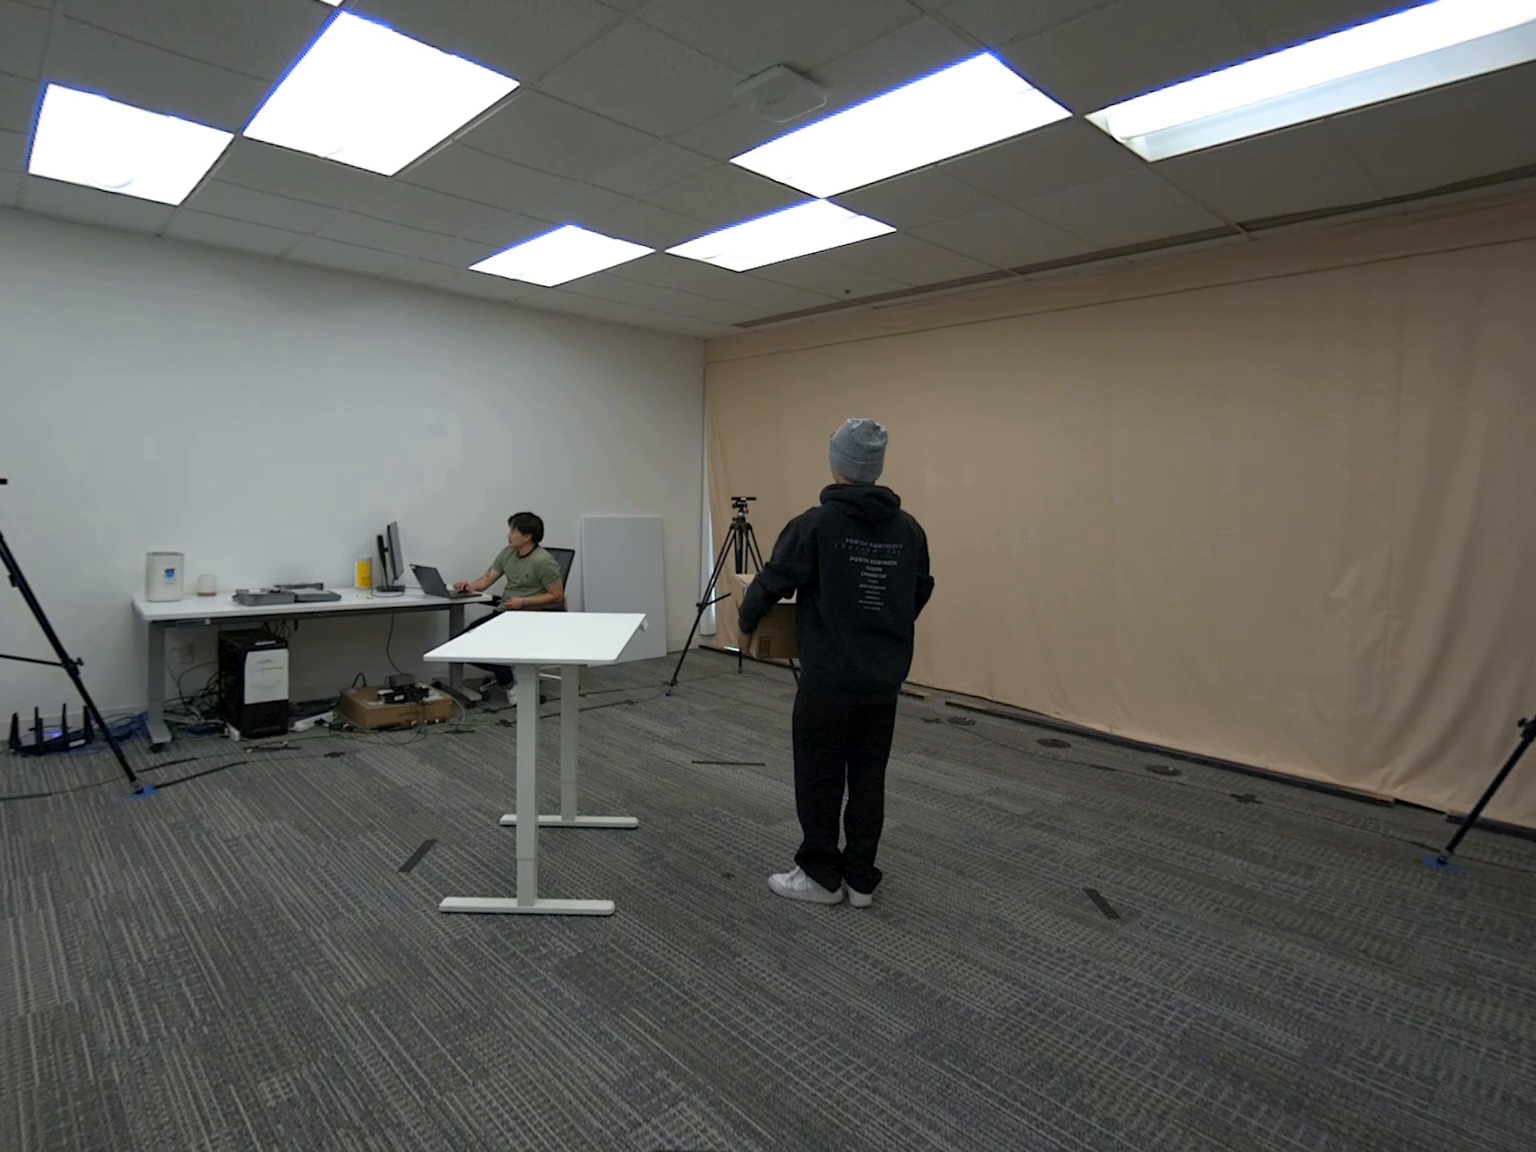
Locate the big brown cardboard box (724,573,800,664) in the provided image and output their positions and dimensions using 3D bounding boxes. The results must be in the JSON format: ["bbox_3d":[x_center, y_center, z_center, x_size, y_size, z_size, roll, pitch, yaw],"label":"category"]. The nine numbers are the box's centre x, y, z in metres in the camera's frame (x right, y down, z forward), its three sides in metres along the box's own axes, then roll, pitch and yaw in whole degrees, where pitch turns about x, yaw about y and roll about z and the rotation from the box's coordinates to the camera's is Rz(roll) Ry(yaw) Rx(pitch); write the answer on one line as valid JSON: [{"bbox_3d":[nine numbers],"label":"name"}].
[{"bbox_3d":[0.174,0.153,3.281,0.582,0.231,0.426,1,13,-16],"label":"big brown cardboard box"}]
